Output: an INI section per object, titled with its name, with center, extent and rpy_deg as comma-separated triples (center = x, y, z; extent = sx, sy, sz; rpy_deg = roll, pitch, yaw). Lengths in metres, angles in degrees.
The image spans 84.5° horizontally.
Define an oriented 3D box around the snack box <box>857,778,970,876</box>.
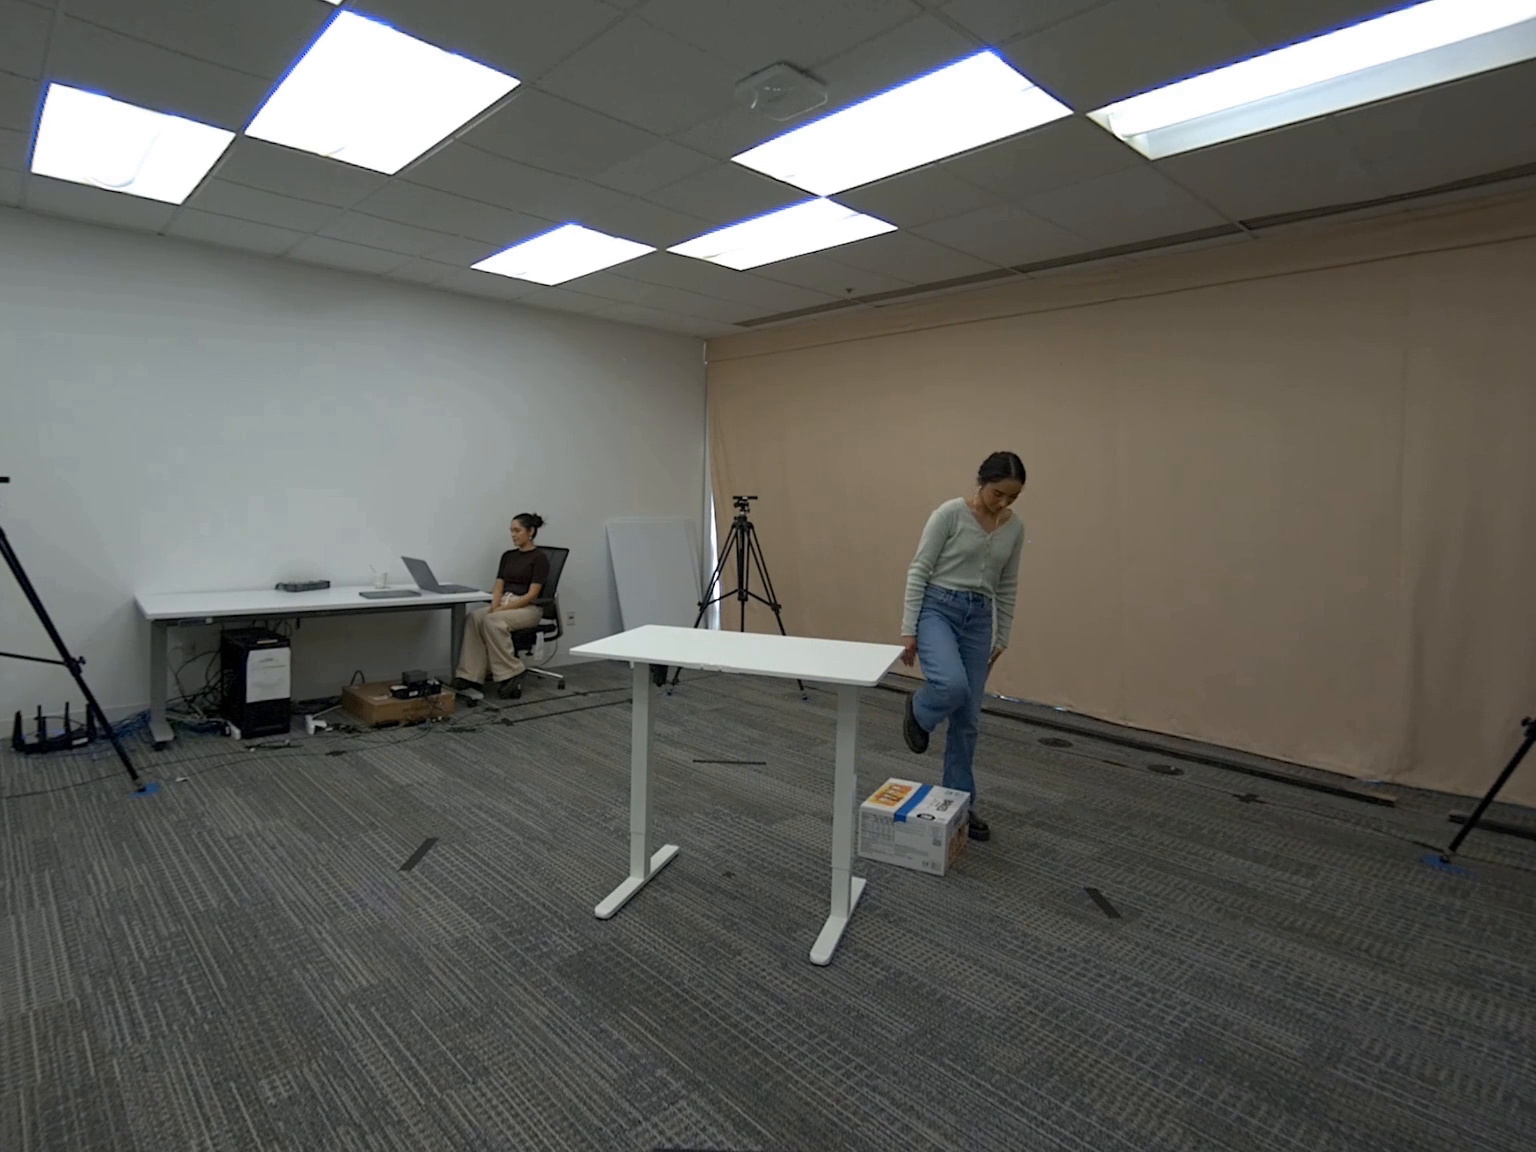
[snack box]
center = 0.586, 0.995, 3.376
extent = 0.347, 0.205, 0.398
rpy_deg = 4, 5, 27
